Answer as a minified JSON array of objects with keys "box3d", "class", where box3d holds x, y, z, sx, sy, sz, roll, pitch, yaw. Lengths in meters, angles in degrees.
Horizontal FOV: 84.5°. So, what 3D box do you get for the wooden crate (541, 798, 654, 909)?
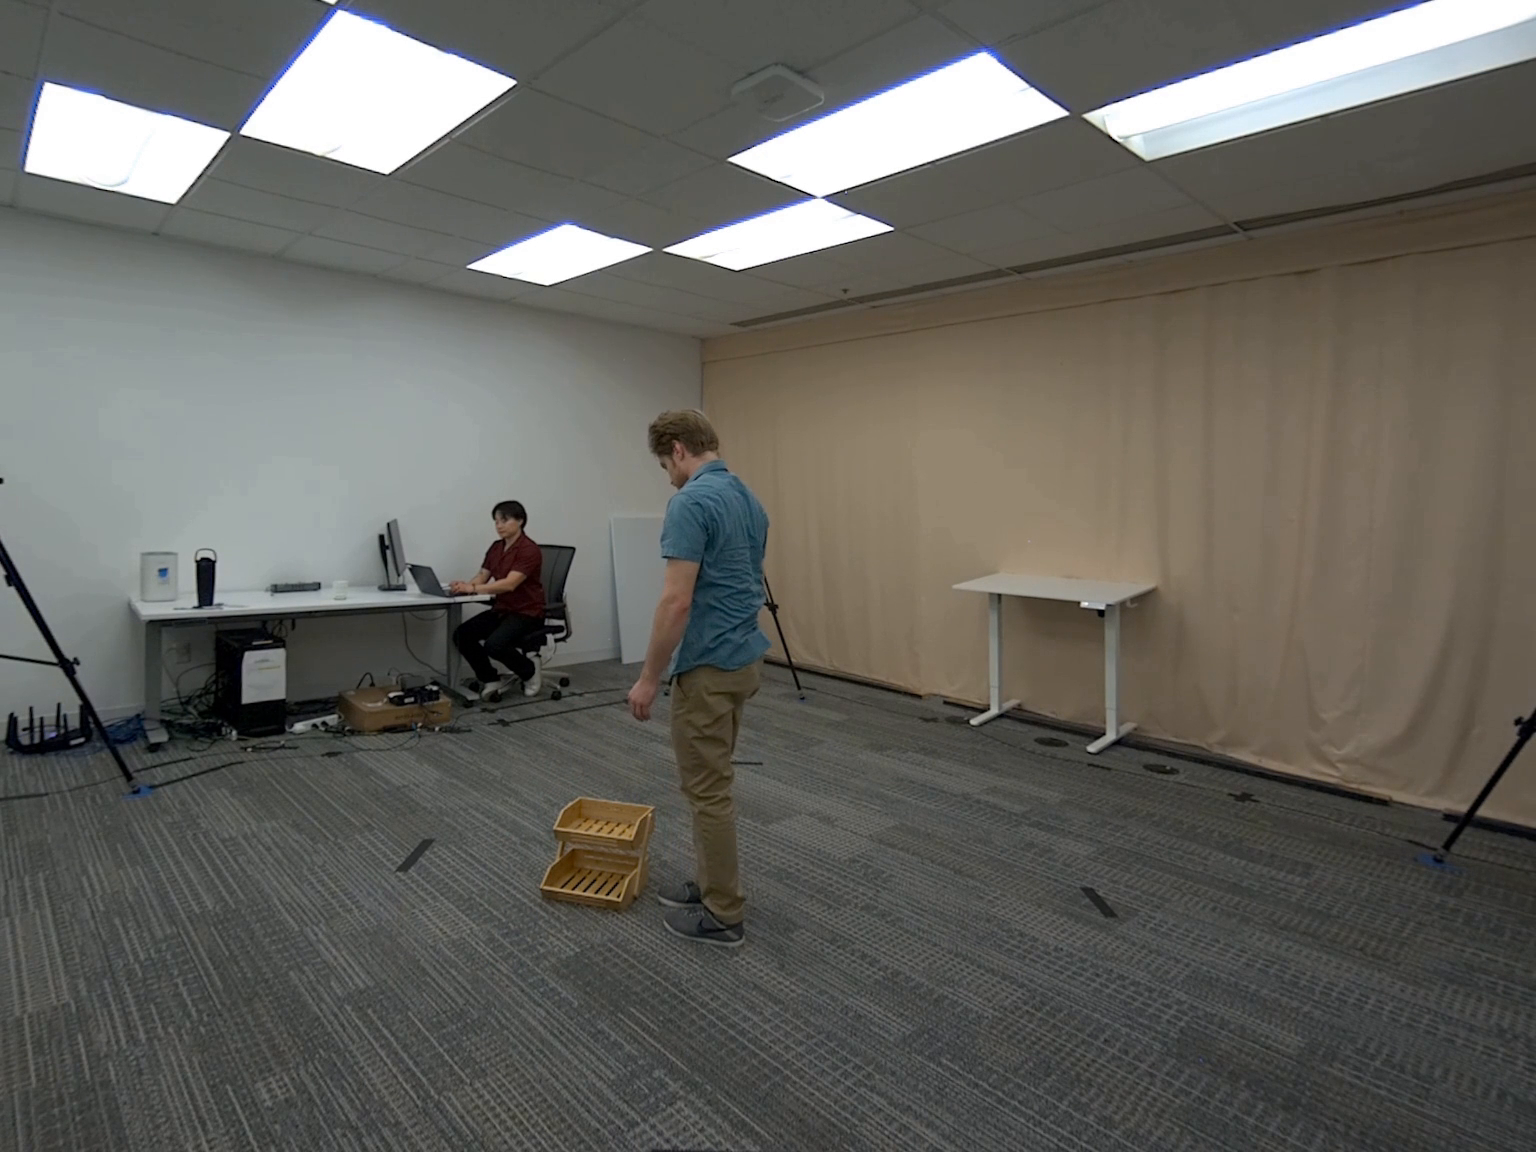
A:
[{"box3d":[-0.605,0.973,2.964,0.328,0.273,0.299,3,4,14],"class":"wooden crate"}]
